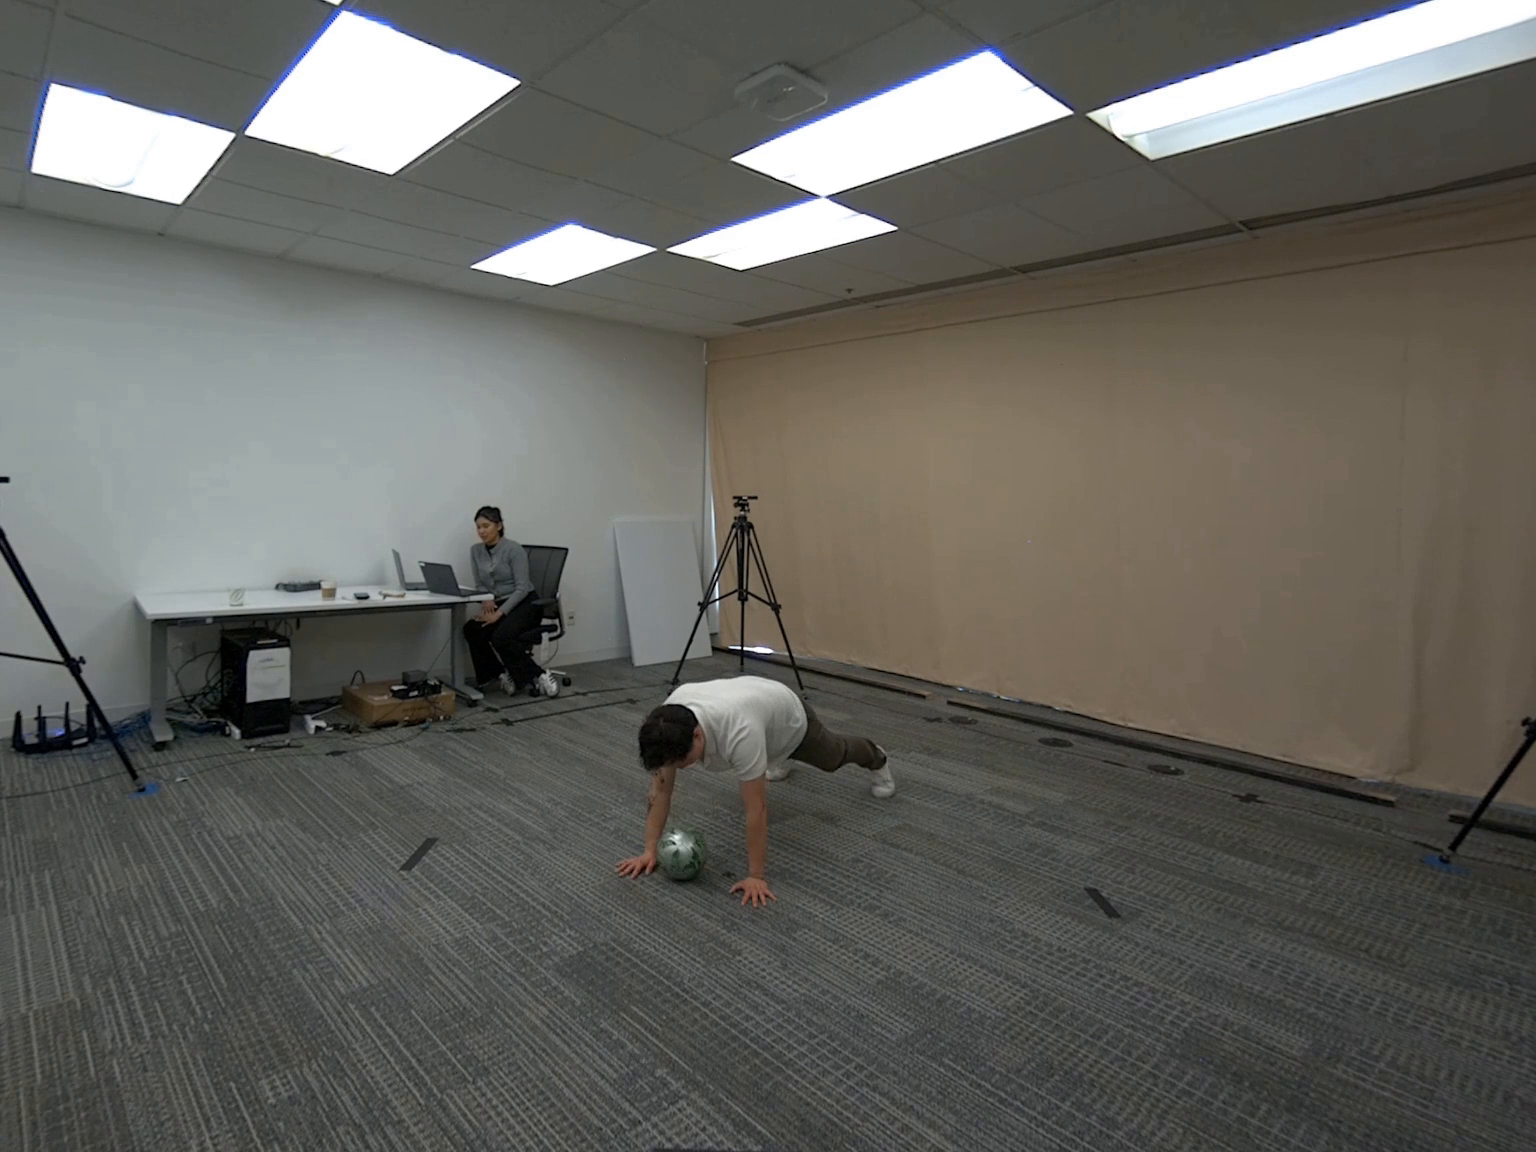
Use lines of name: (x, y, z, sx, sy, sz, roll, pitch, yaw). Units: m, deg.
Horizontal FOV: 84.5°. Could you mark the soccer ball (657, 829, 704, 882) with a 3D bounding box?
soccer ball: (-0.323, 1.006, 3.064, 0.187, 0.187, 0.188, 1, 4, -1)
